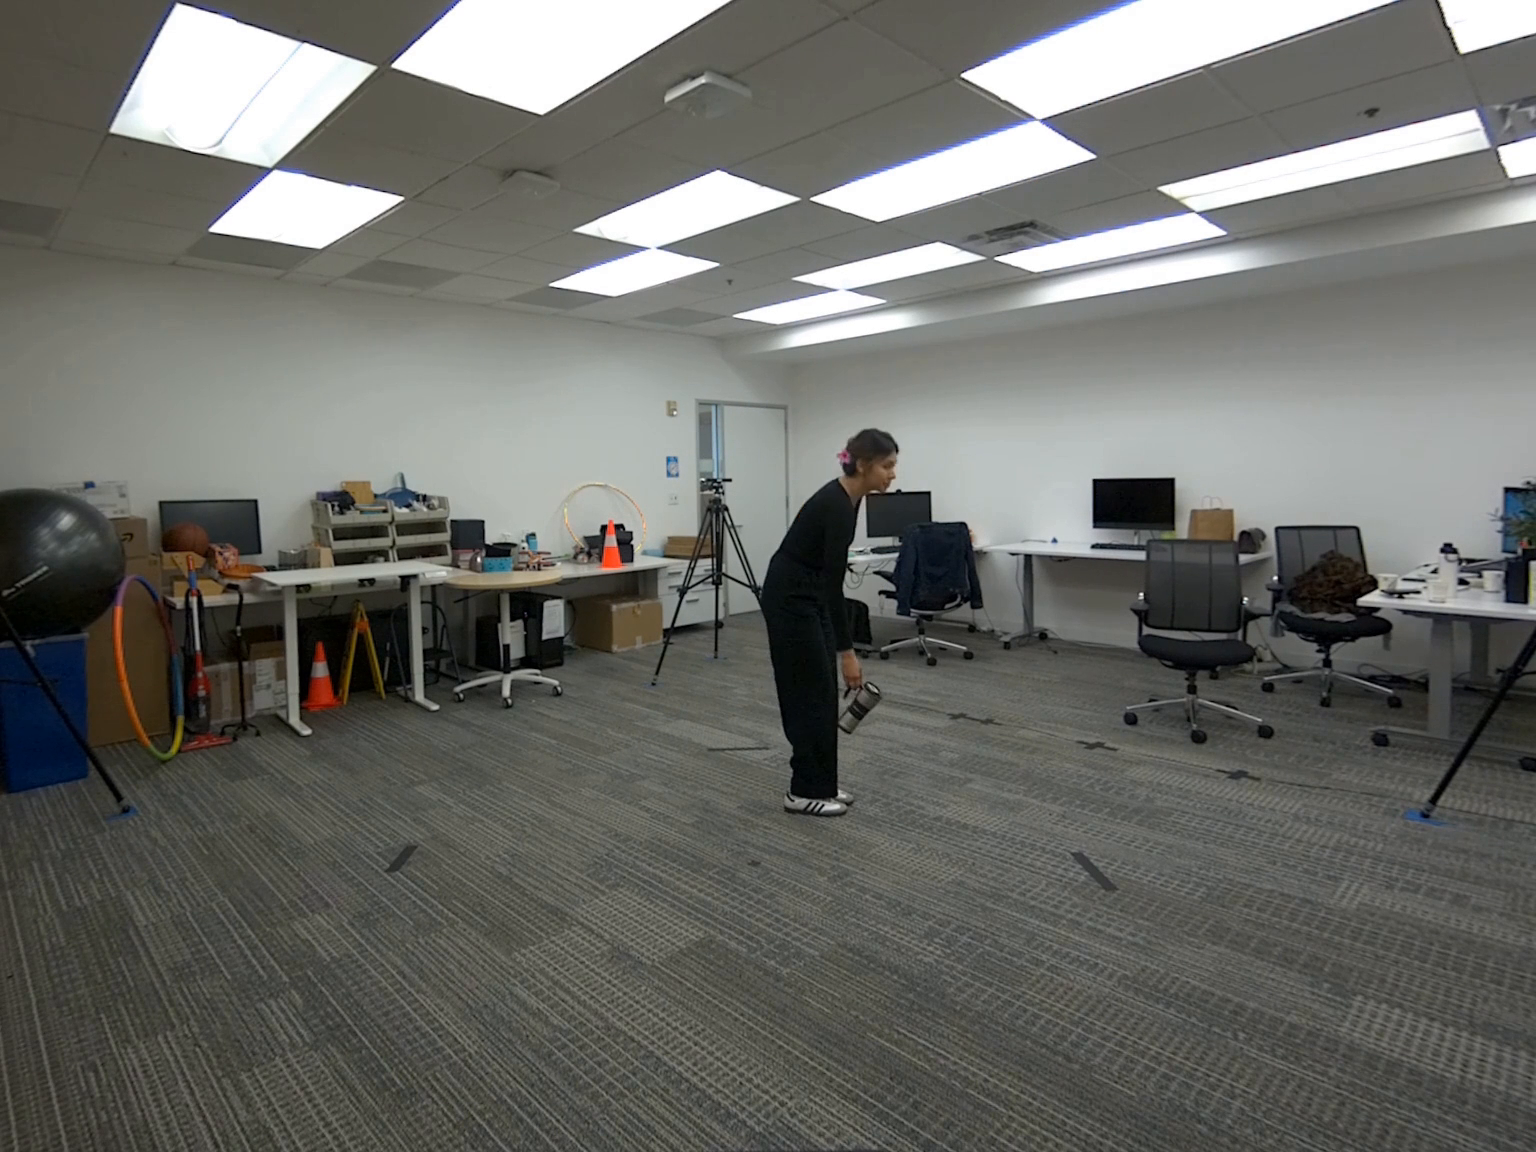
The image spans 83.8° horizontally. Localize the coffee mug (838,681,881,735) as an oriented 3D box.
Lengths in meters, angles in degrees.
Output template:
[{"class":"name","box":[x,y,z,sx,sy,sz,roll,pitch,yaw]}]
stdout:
[{"class":"coffee mug","box":[0.353,0.519,3.339,0.088,0.202,0.122,30,18,1]}]
